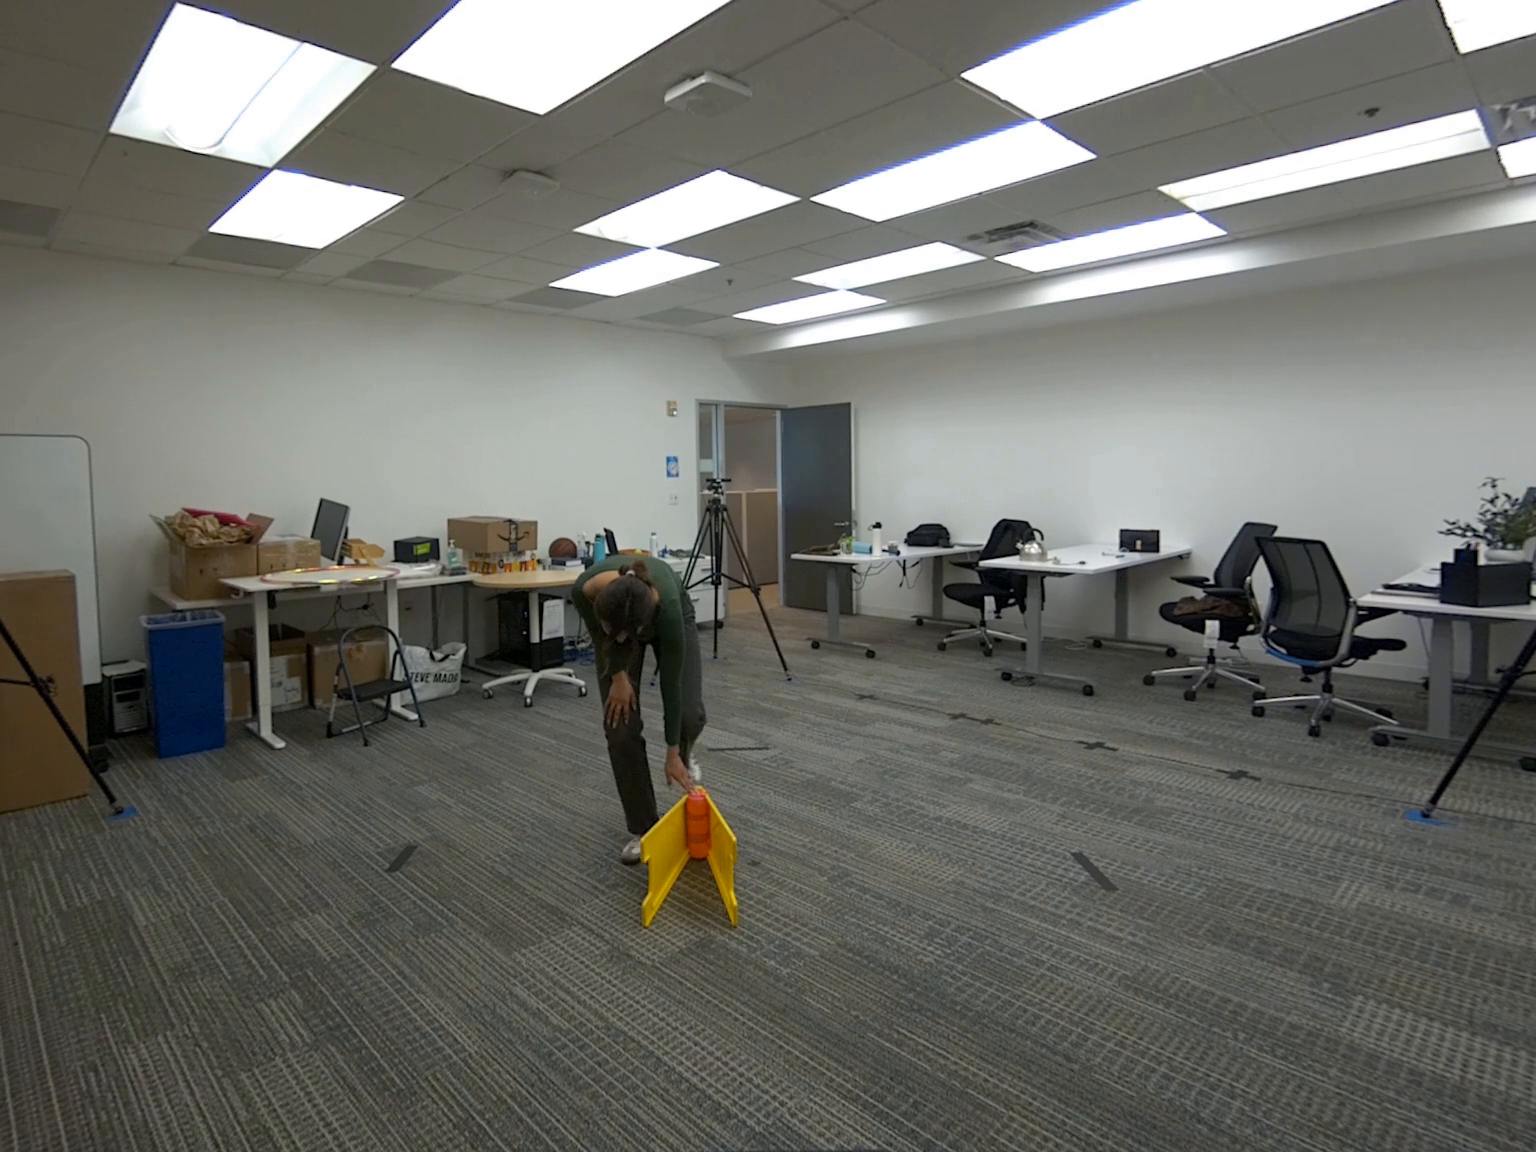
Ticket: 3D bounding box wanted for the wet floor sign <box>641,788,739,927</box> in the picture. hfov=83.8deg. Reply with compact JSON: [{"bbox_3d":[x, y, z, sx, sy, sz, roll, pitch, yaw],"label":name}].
[{"bbox_3d":[-0.254,0.929,2.982,0.290,0.282,0.647,-1,3,-1],"label":"wet floor sign"}]
